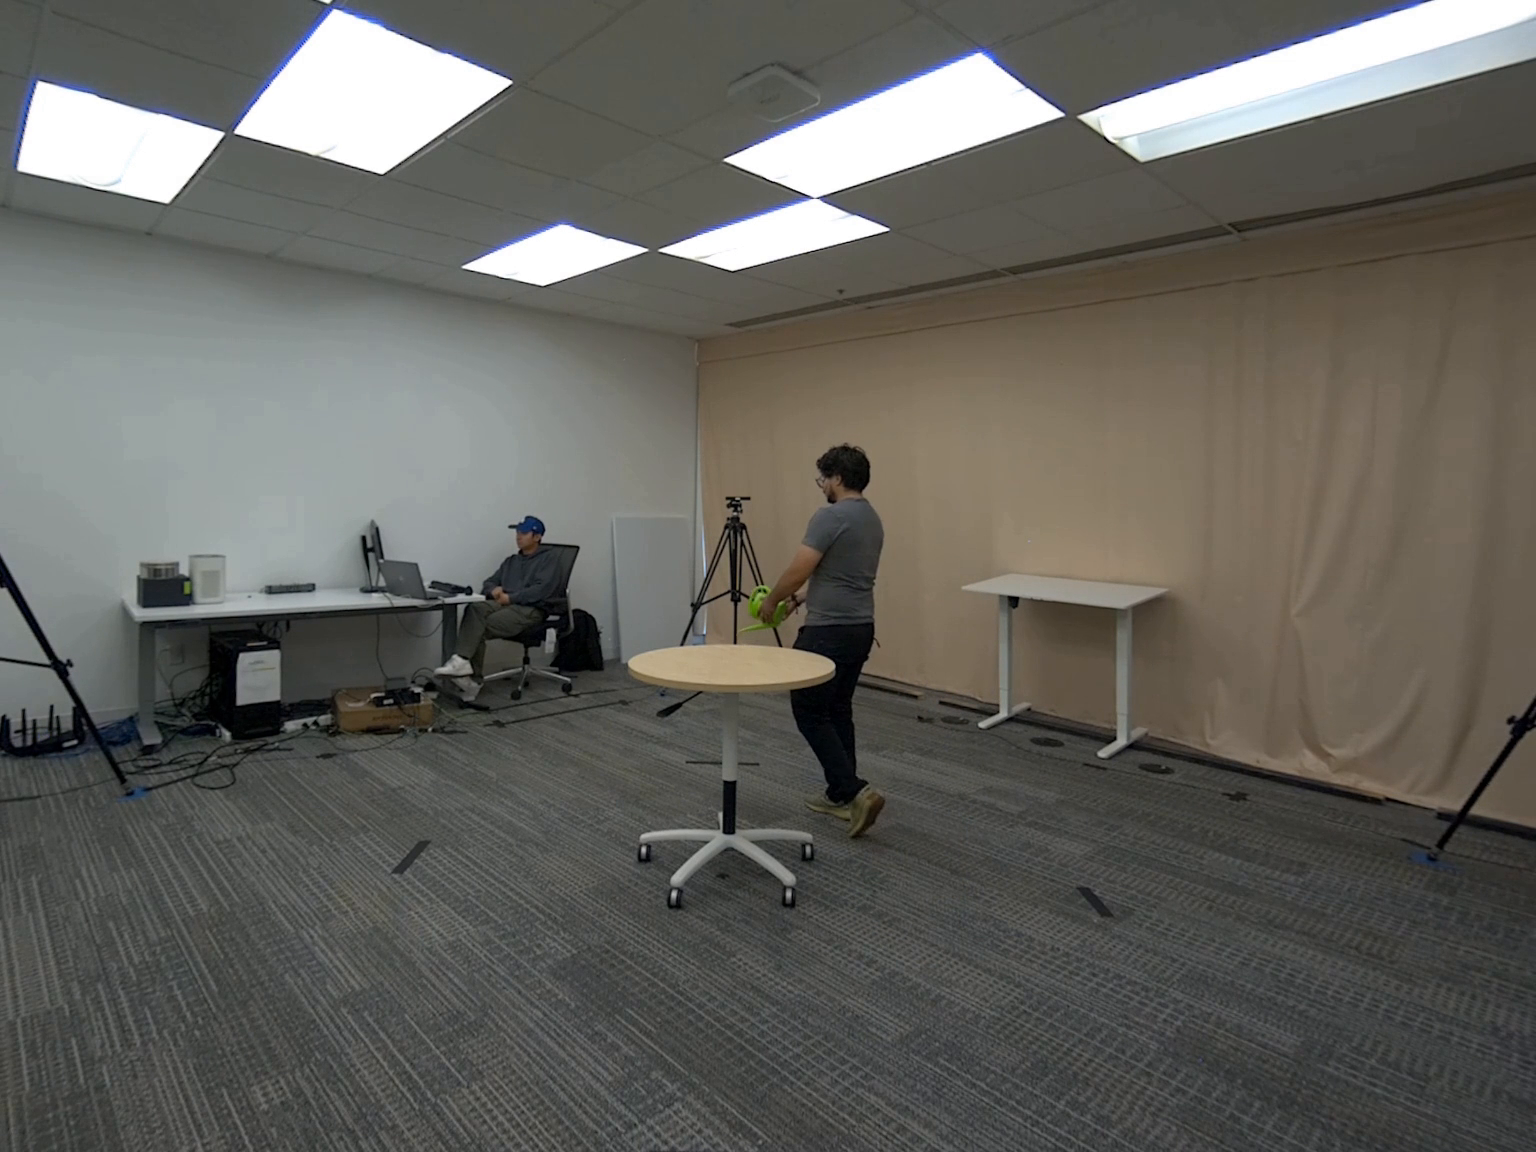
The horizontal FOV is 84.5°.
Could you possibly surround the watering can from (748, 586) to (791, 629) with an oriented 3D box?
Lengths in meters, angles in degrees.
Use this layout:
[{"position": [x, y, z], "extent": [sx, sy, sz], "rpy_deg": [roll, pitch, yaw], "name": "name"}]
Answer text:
[{"position": [-0.029, 0.185, 3.946], "extent": [0.181, 0.275, 0.097], "rpy_deg": [27, 27, 25], "name": "watering can"}]
